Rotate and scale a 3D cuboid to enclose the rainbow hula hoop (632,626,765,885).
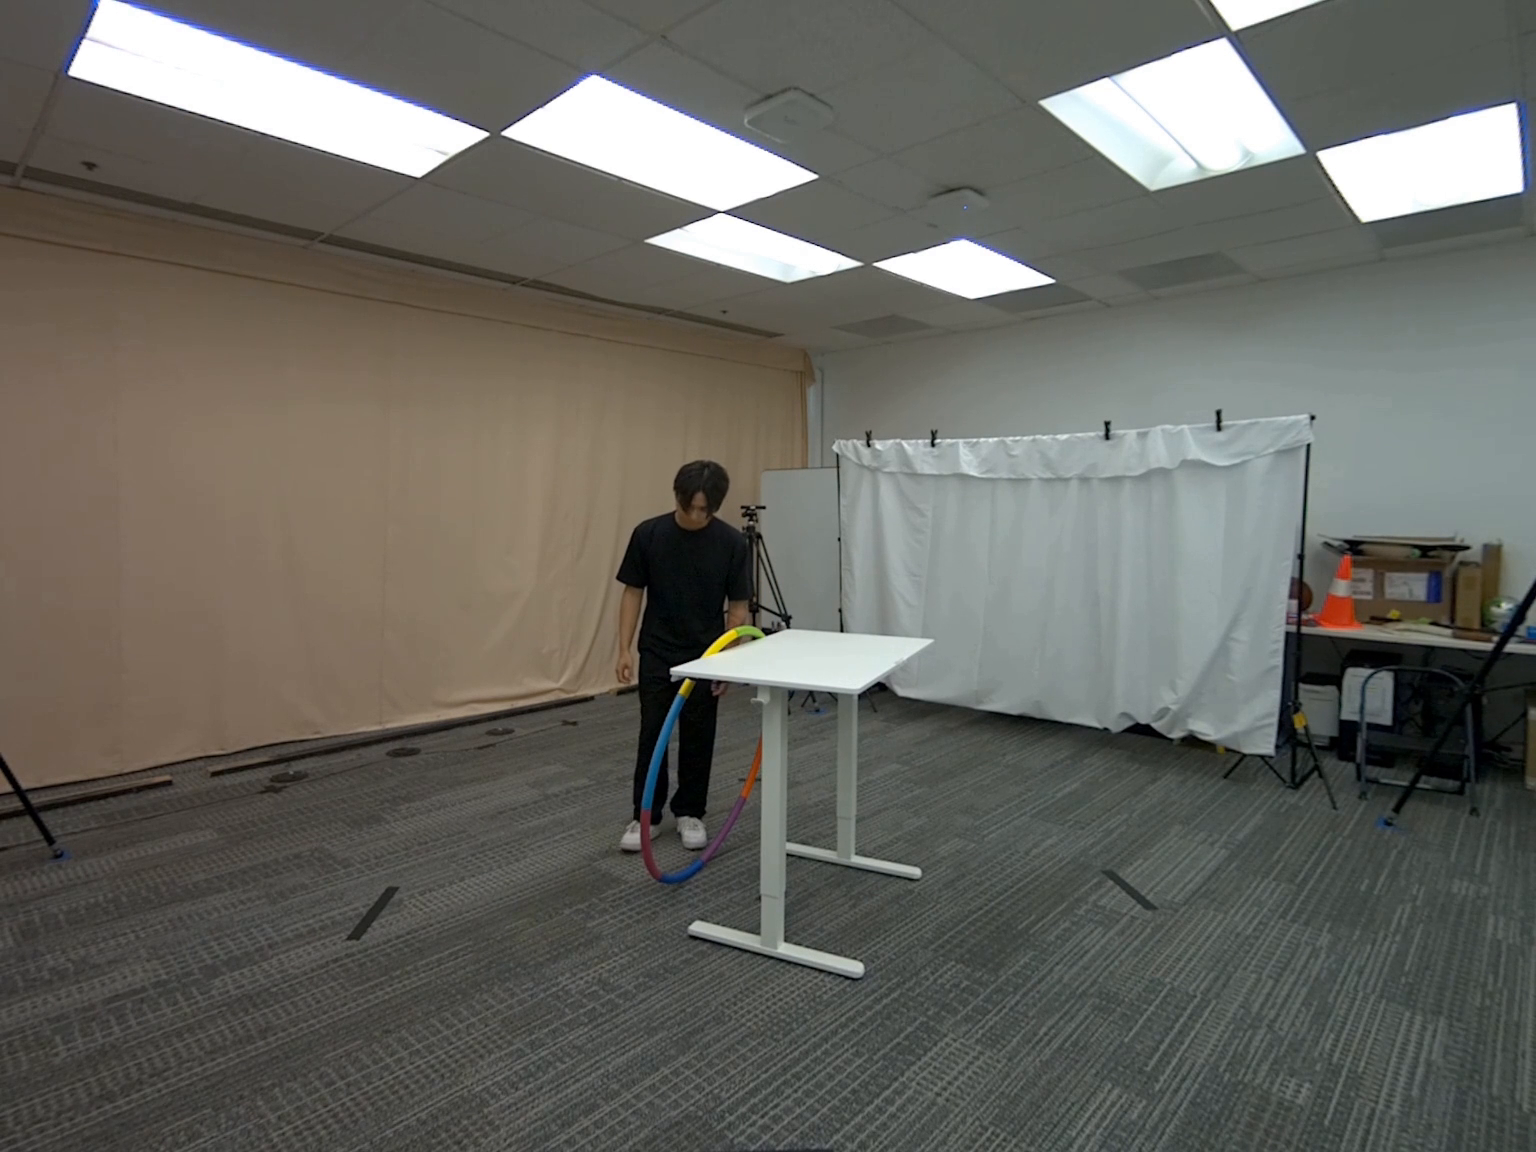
[{"bbox_3d":[-0.197,0.660,3.139,0.036,0.975,0.956,15,10,23],"label":"rainbow hula hoop"}]
